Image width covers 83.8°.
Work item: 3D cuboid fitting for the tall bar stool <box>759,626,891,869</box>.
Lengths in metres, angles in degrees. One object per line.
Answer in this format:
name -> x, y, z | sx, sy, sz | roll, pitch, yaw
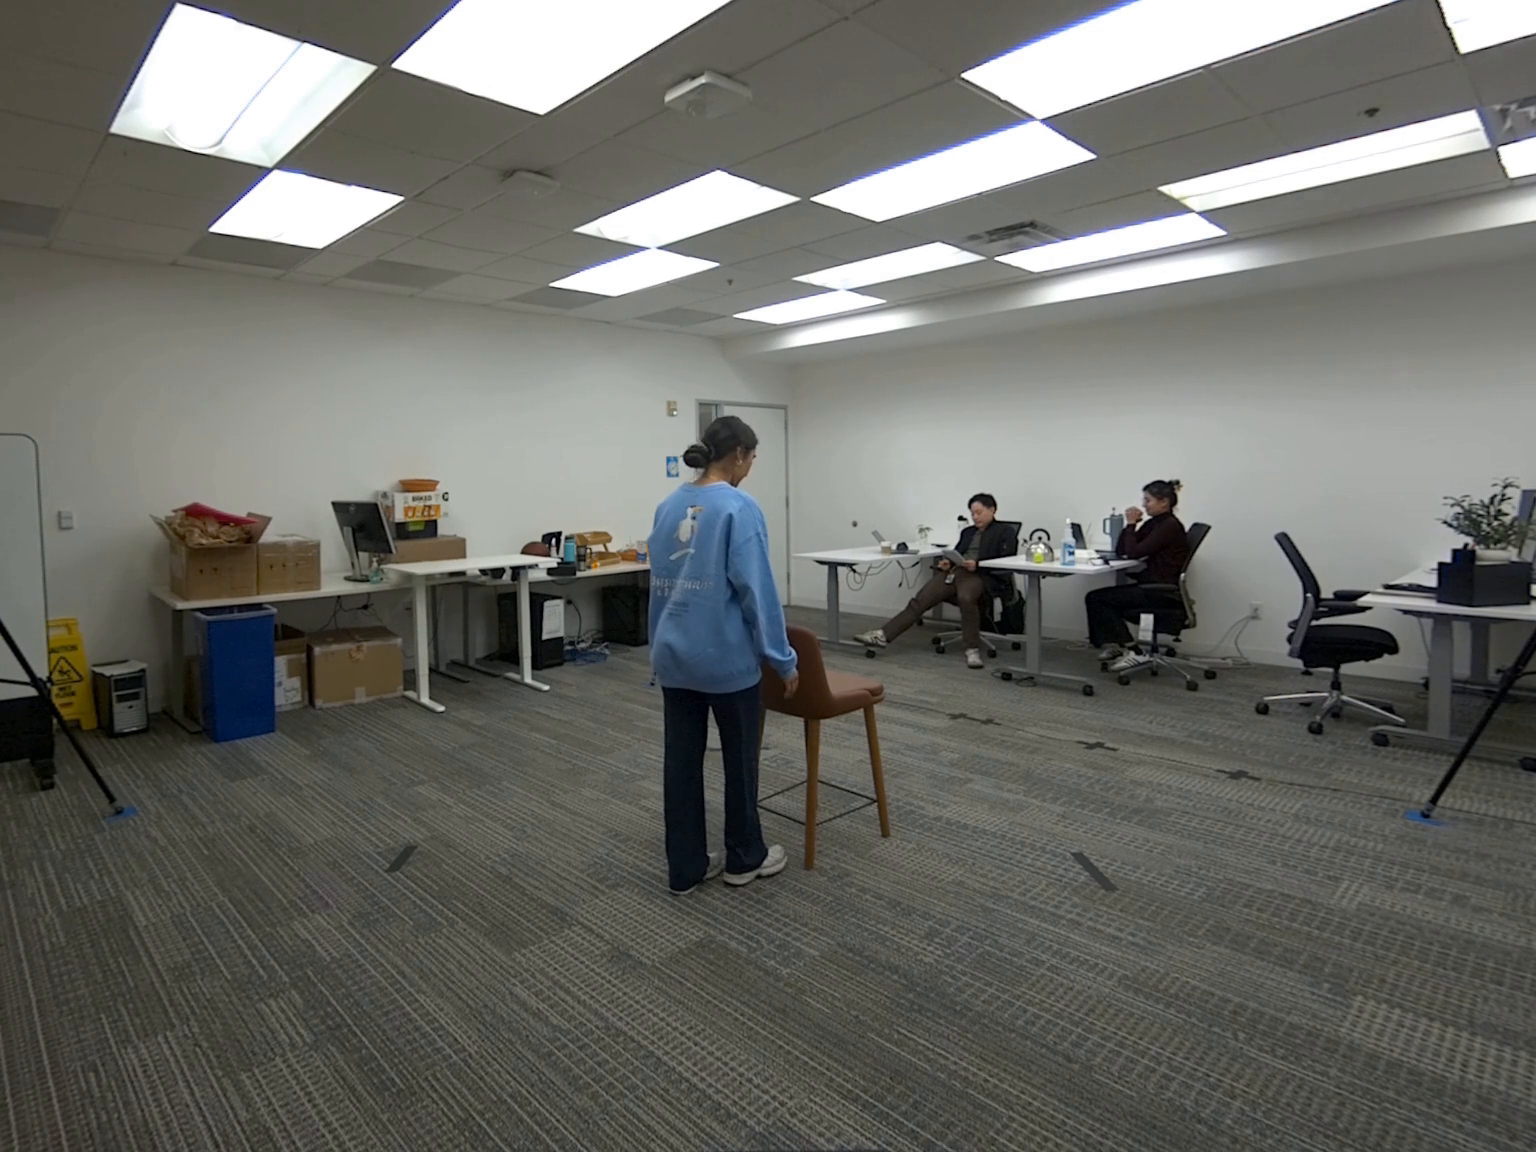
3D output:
tall bar stool -> 0.166, 0.583, 3.295 | 0.456, 0.885, 0.470 | -7, 7, -42
